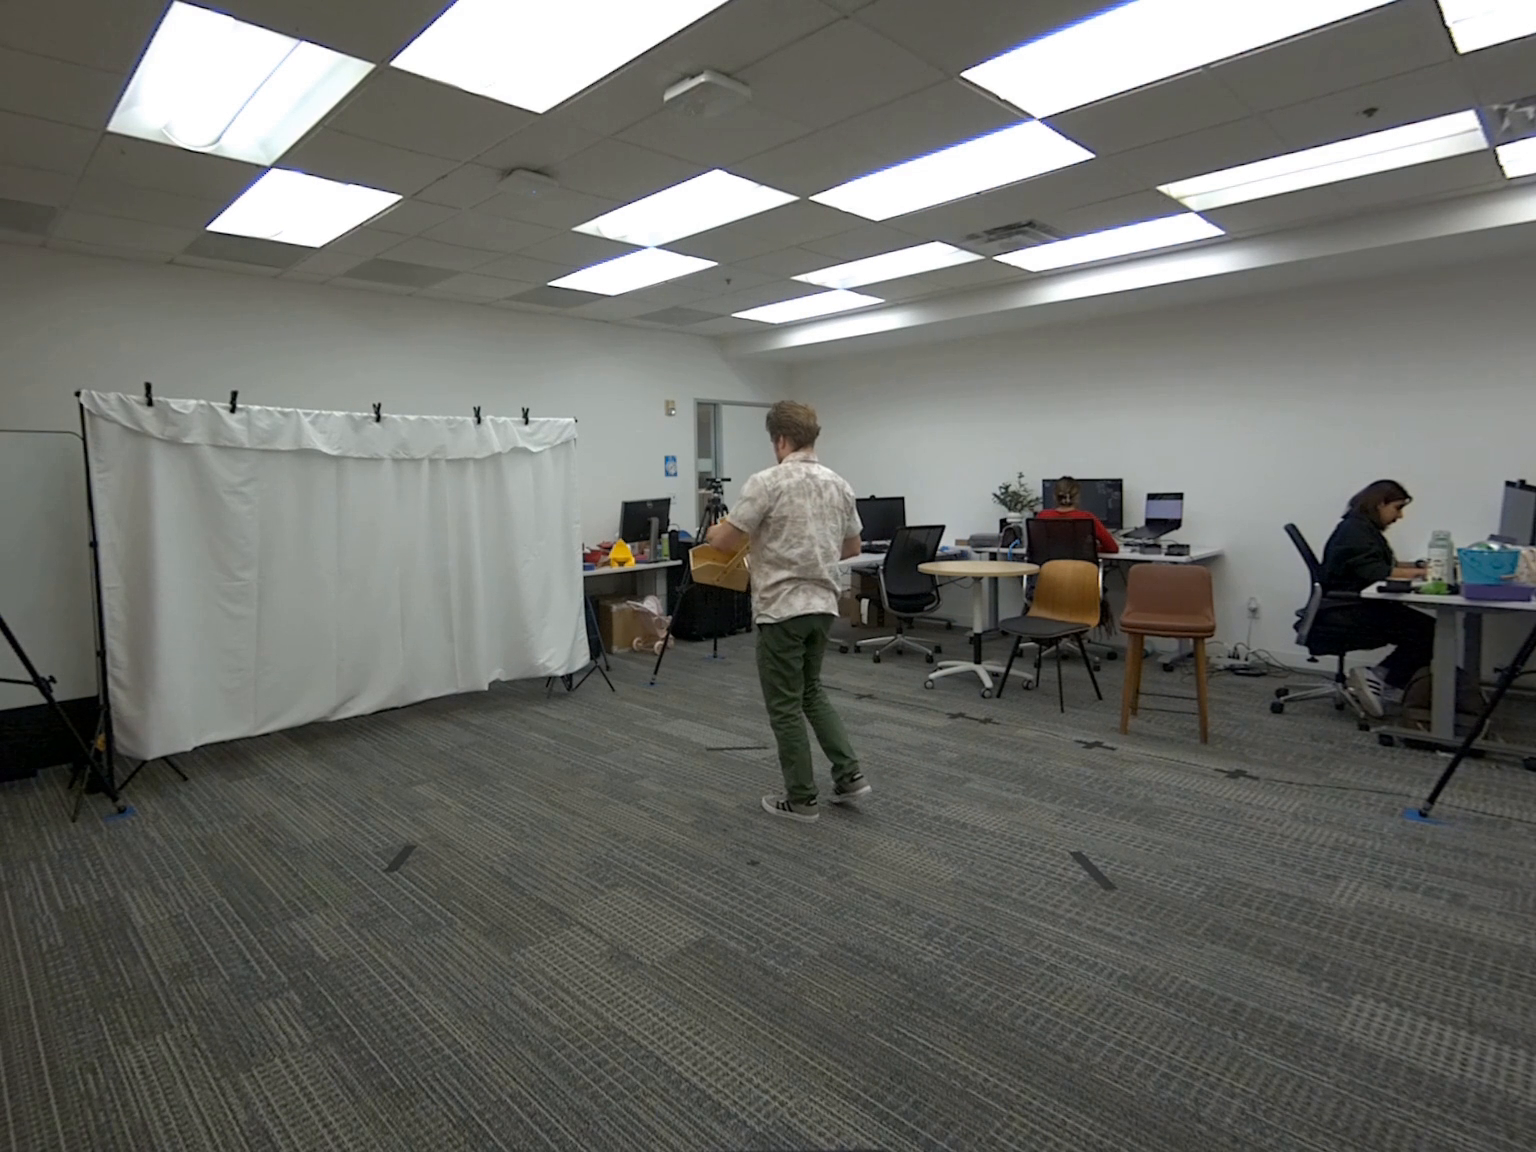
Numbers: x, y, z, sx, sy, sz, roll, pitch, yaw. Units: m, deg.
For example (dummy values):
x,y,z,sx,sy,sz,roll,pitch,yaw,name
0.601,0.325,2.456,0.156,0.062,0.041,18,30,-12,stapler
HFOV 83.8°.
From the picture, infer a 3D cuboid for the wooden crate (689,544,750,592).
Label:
x,y,z,sx,sy,sz,roll,pitch,yaw,name
-0.167,-0.120,3.818,0.299,0.271,0.331,12,15,-10,wooden crate
